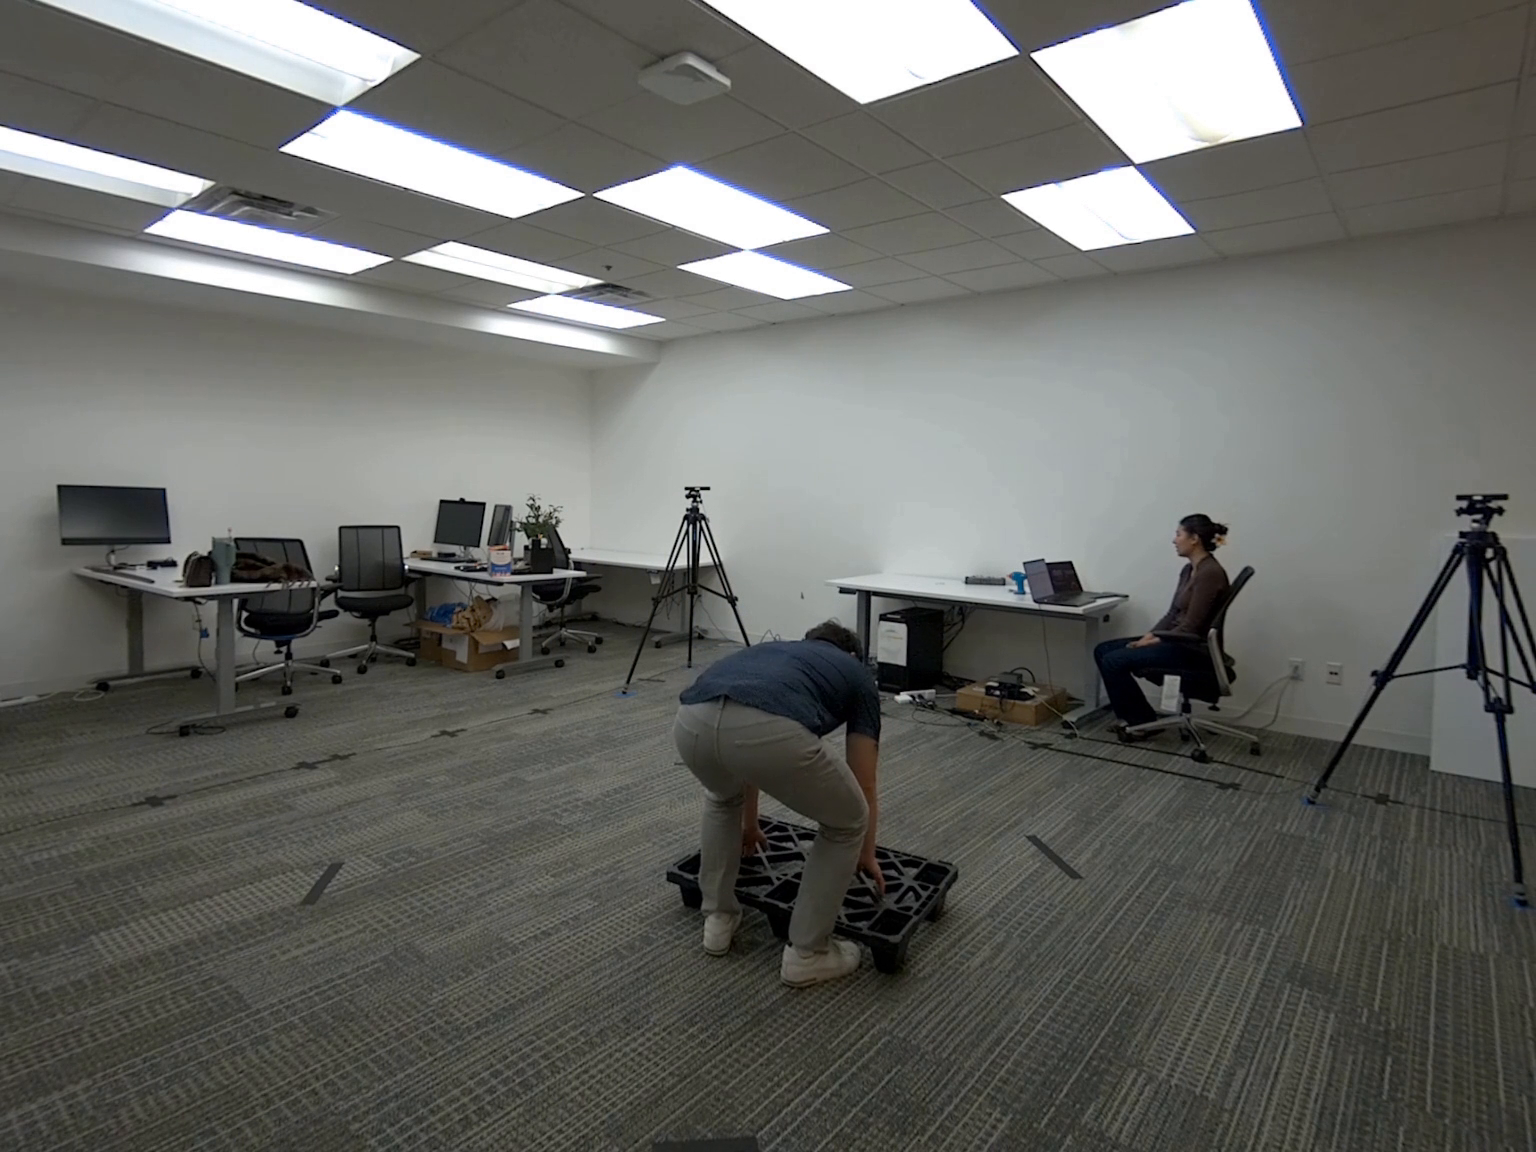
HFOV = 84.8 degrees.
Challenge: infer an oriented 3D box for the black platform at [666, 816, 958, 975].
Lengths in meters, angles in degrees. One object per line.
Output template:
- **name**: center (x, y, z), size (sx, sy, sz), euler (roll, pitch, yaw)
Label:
- **black platform**: center (0.146, 1.031, 2.826), size (0.830, 0.143, 0.590), euler (4, 7, 30)
